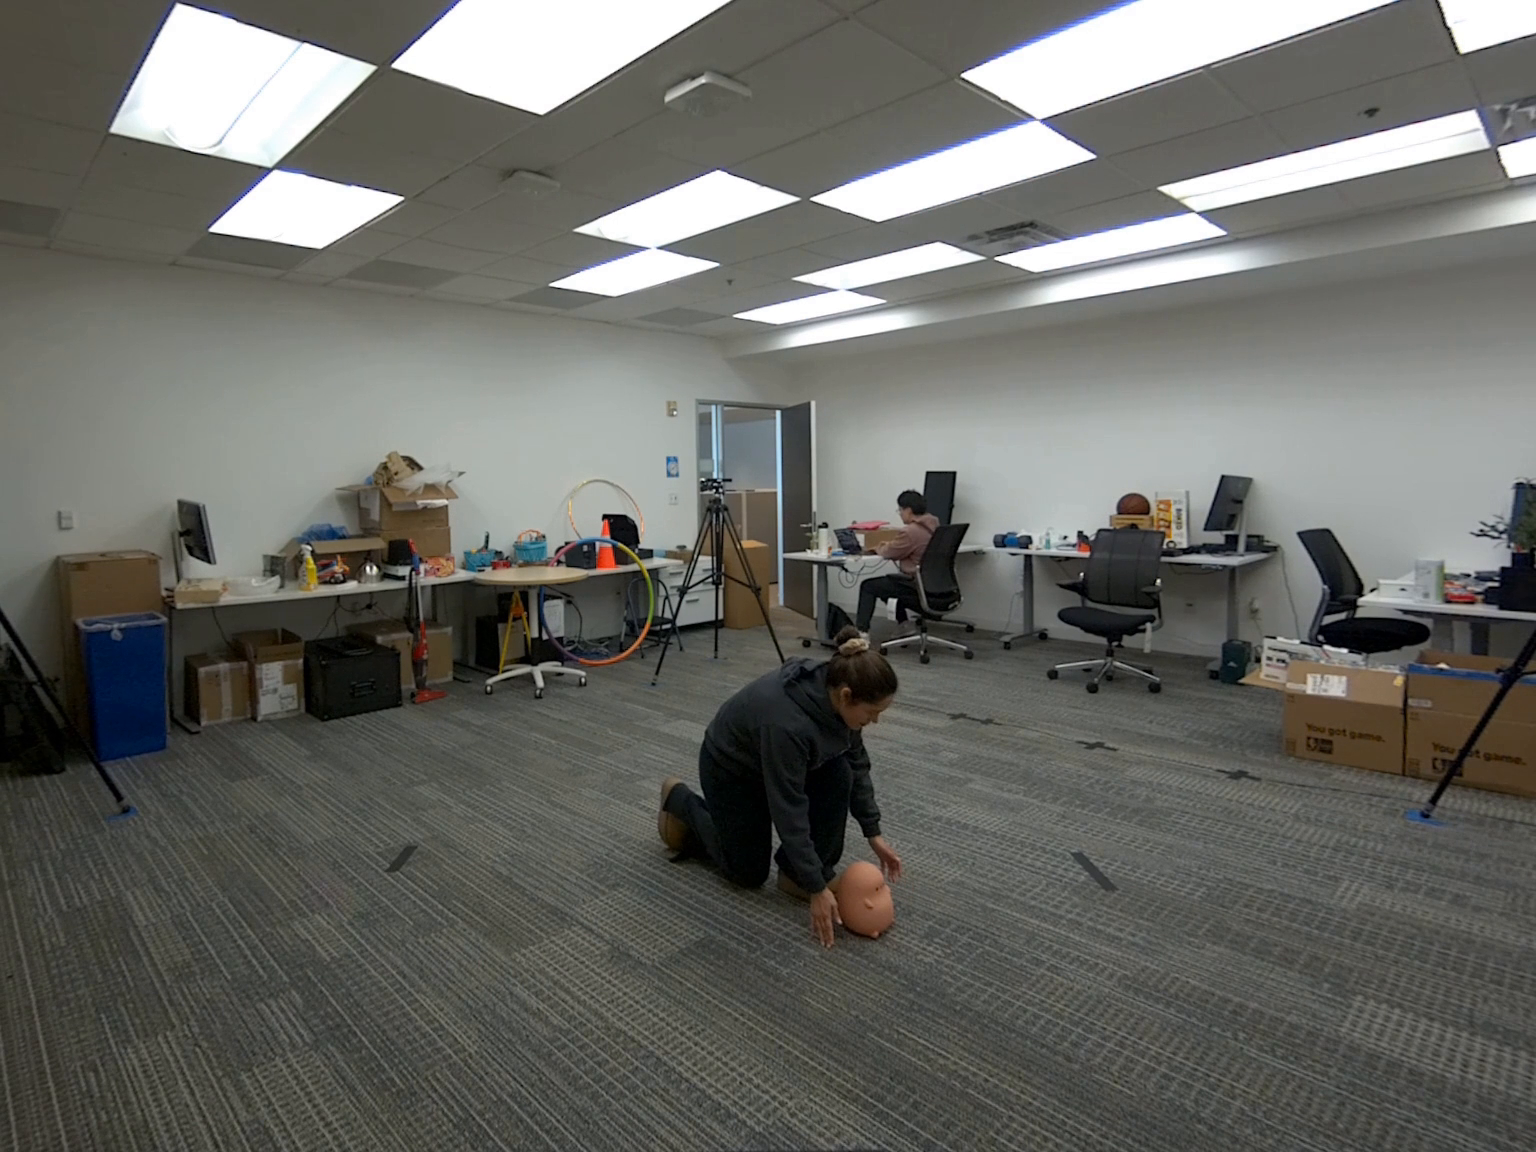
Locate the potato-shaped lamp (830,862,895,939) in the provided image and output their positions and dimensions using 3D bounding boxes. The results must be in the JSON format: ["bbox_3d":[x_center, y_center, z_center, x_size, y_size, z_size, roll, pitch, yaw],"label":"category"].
[{"bbox_3d":[0.300,0.993,2.638,0.176,0.198,0.160,-4,0,34],"label":"potato-shaped lamp"}]
